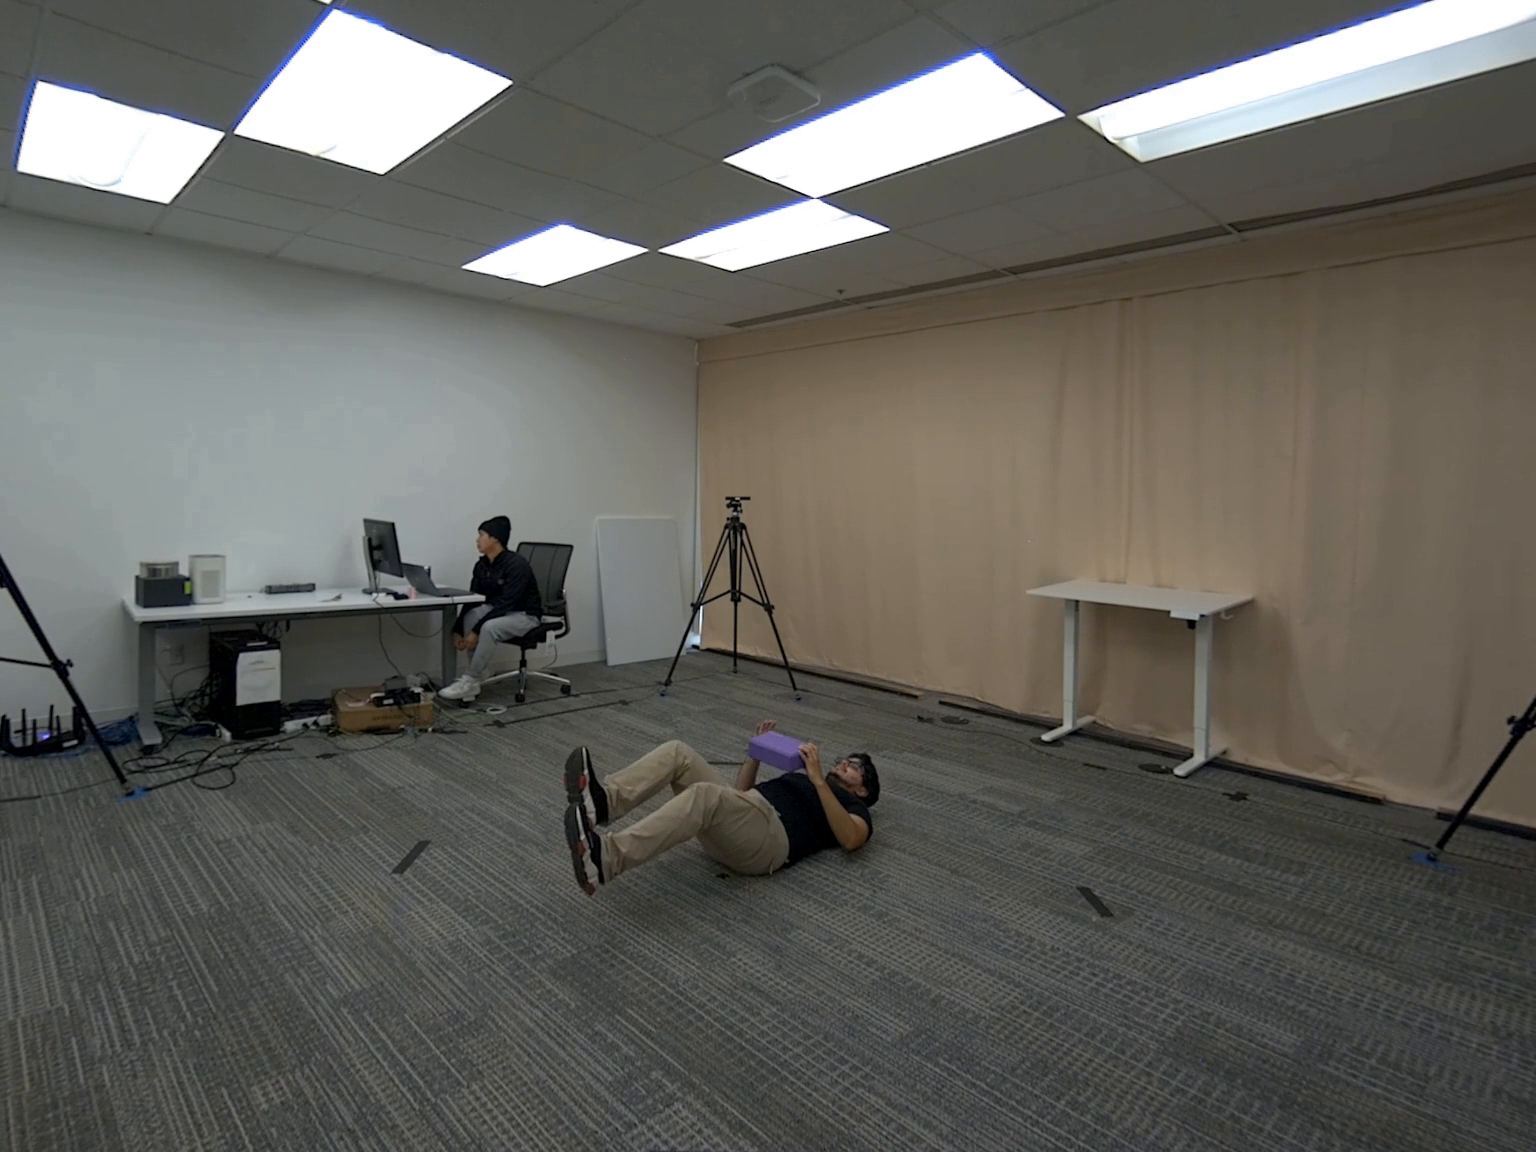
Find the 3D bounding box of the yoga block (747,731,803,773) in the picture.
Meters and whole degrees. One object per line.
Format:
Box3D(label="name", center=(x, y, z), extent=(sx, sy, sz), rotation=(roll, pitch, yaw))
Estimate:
Box3D(label="yoga block", center=(0.043, 0.699, 3.357), extent=(0.235, 0.076, 0.146), rotation=(11, 15, 41))
